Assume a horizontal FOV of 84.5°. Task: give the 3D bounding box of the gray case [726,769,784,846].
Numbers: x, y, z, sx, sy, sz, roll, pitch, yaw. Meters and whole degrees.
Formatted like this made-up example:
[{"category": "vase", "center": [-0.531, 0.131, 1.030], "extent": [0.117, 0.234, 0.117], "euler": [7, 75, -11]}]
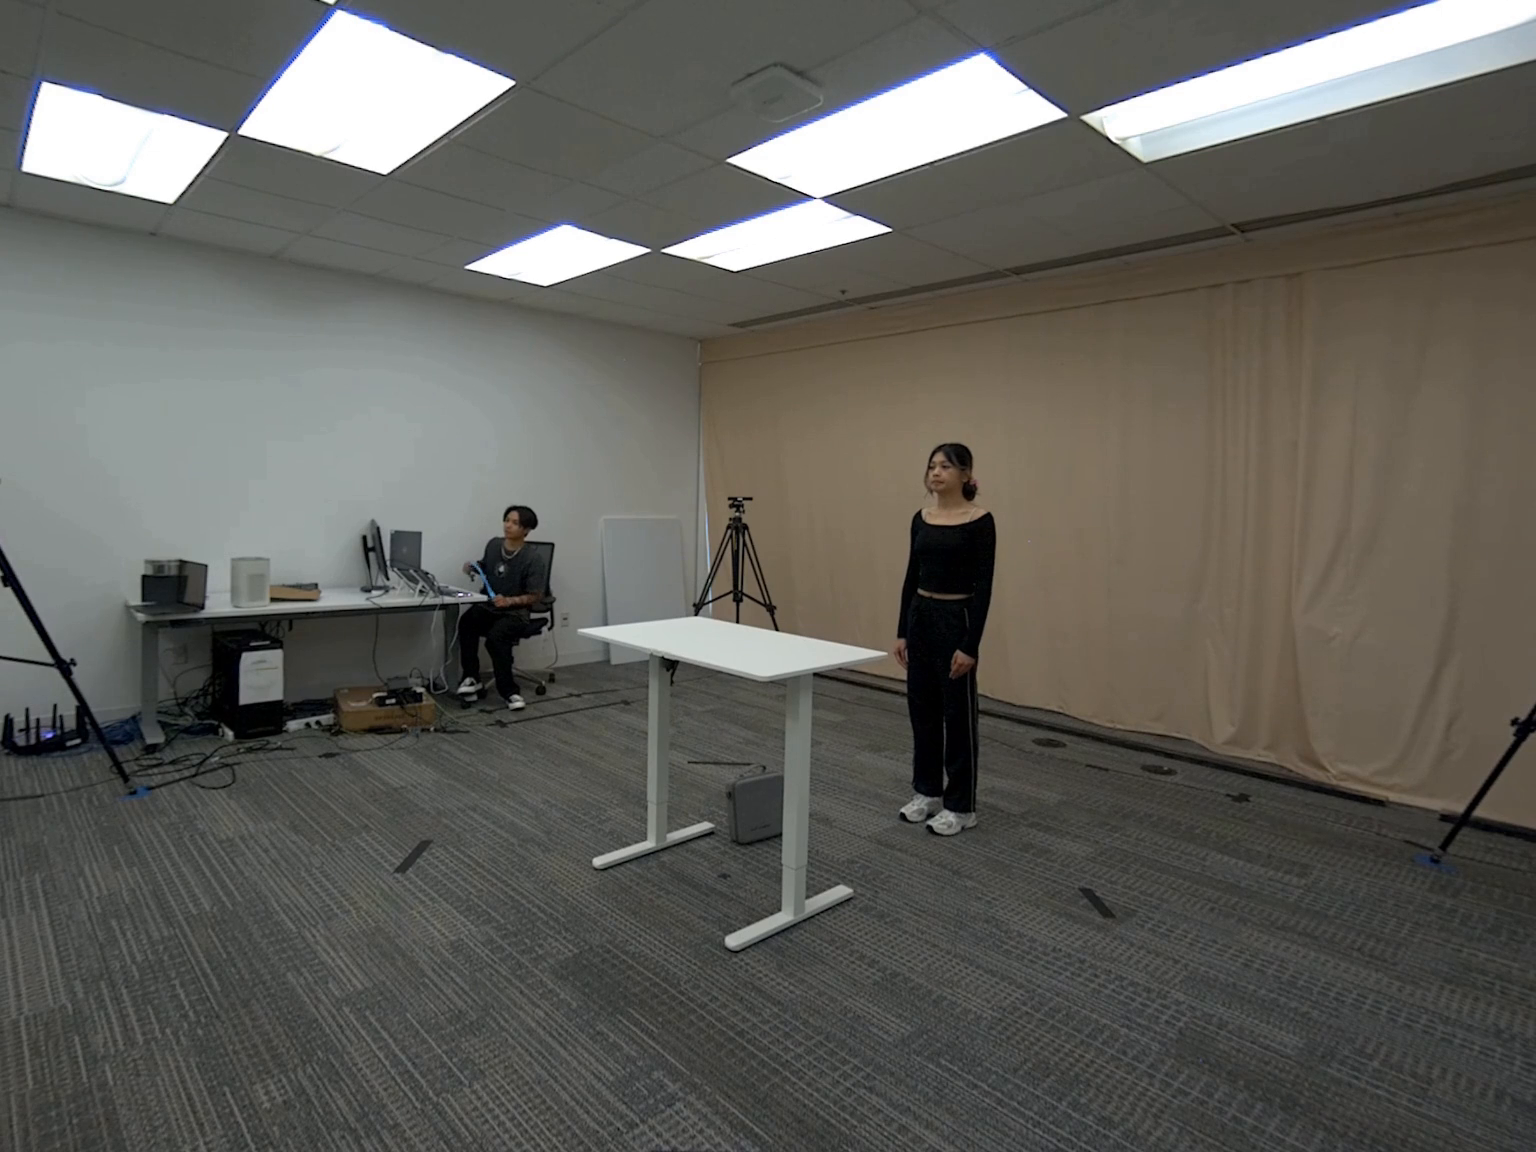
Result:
[{"category": "gray case", "center": [-0.054, 0.944, 3.477], "extent": [0.251, 0.262, 0.106], "euler": [-2, -6, -34]}]
